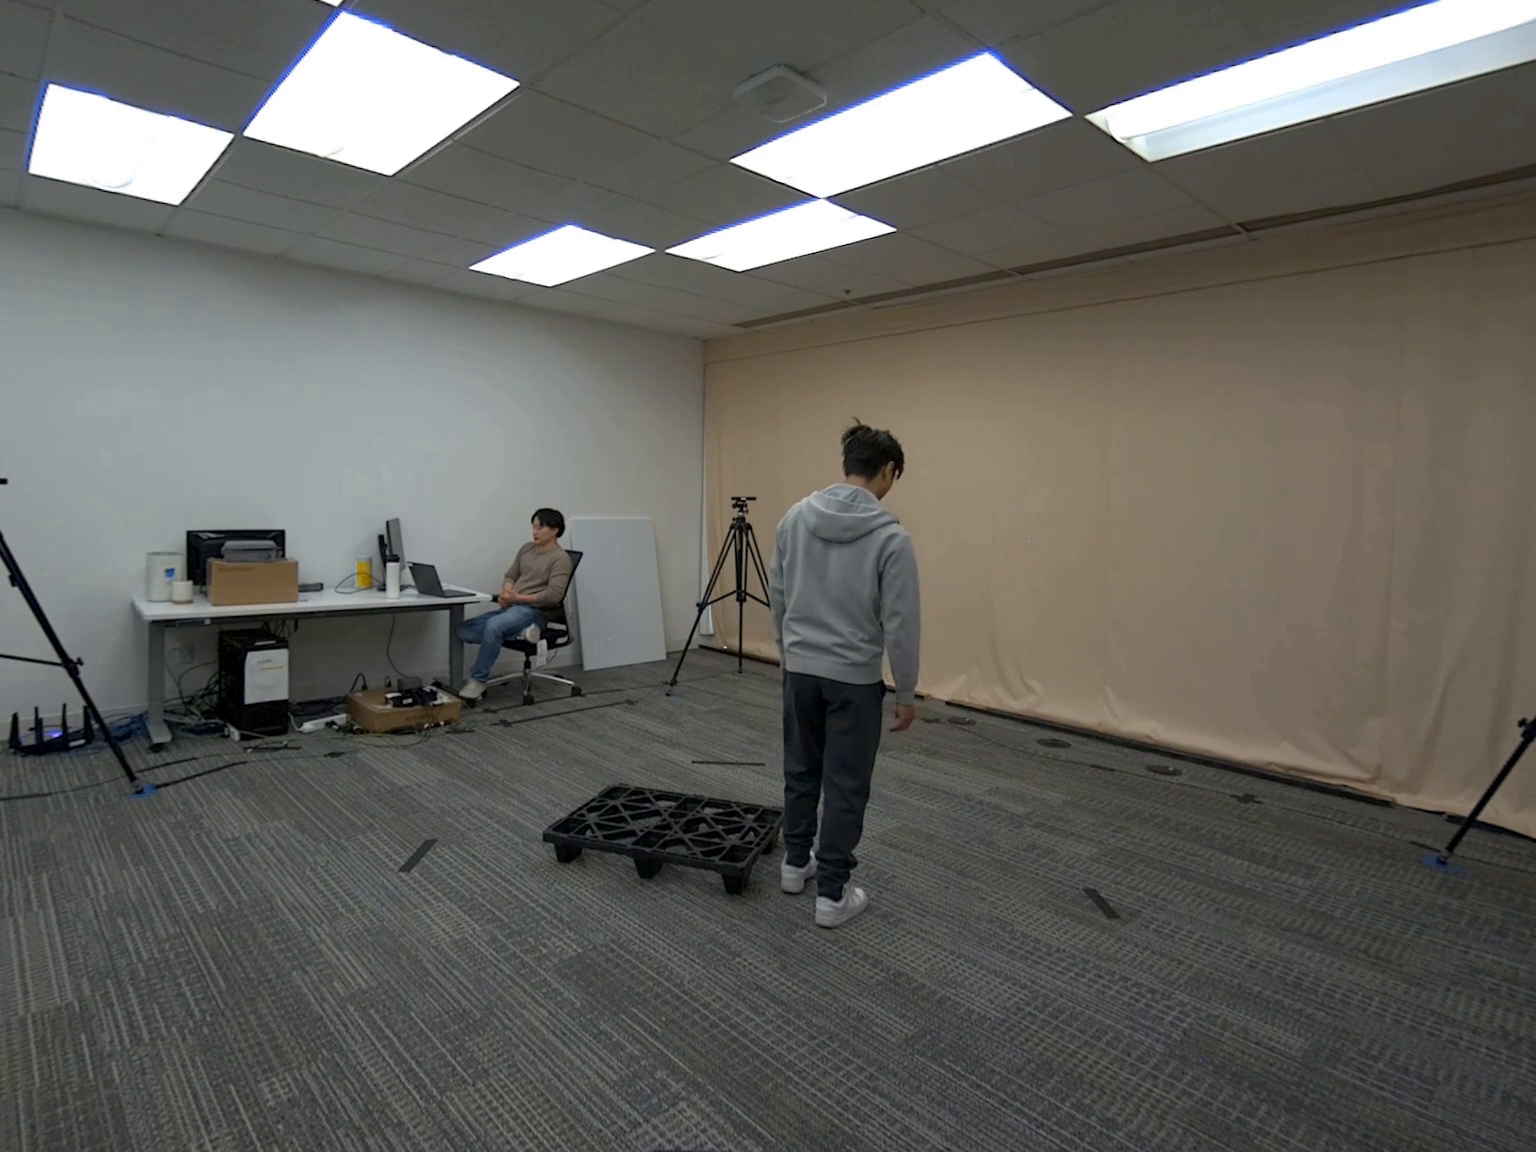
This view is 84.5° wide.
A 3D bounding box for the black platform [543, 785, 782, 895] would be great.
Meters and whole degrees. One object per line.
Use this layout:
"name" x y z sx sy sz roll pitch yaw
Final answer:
"black platform" -0.386 1.018 3.284 0.818 0.143 0.598 3 6 18
